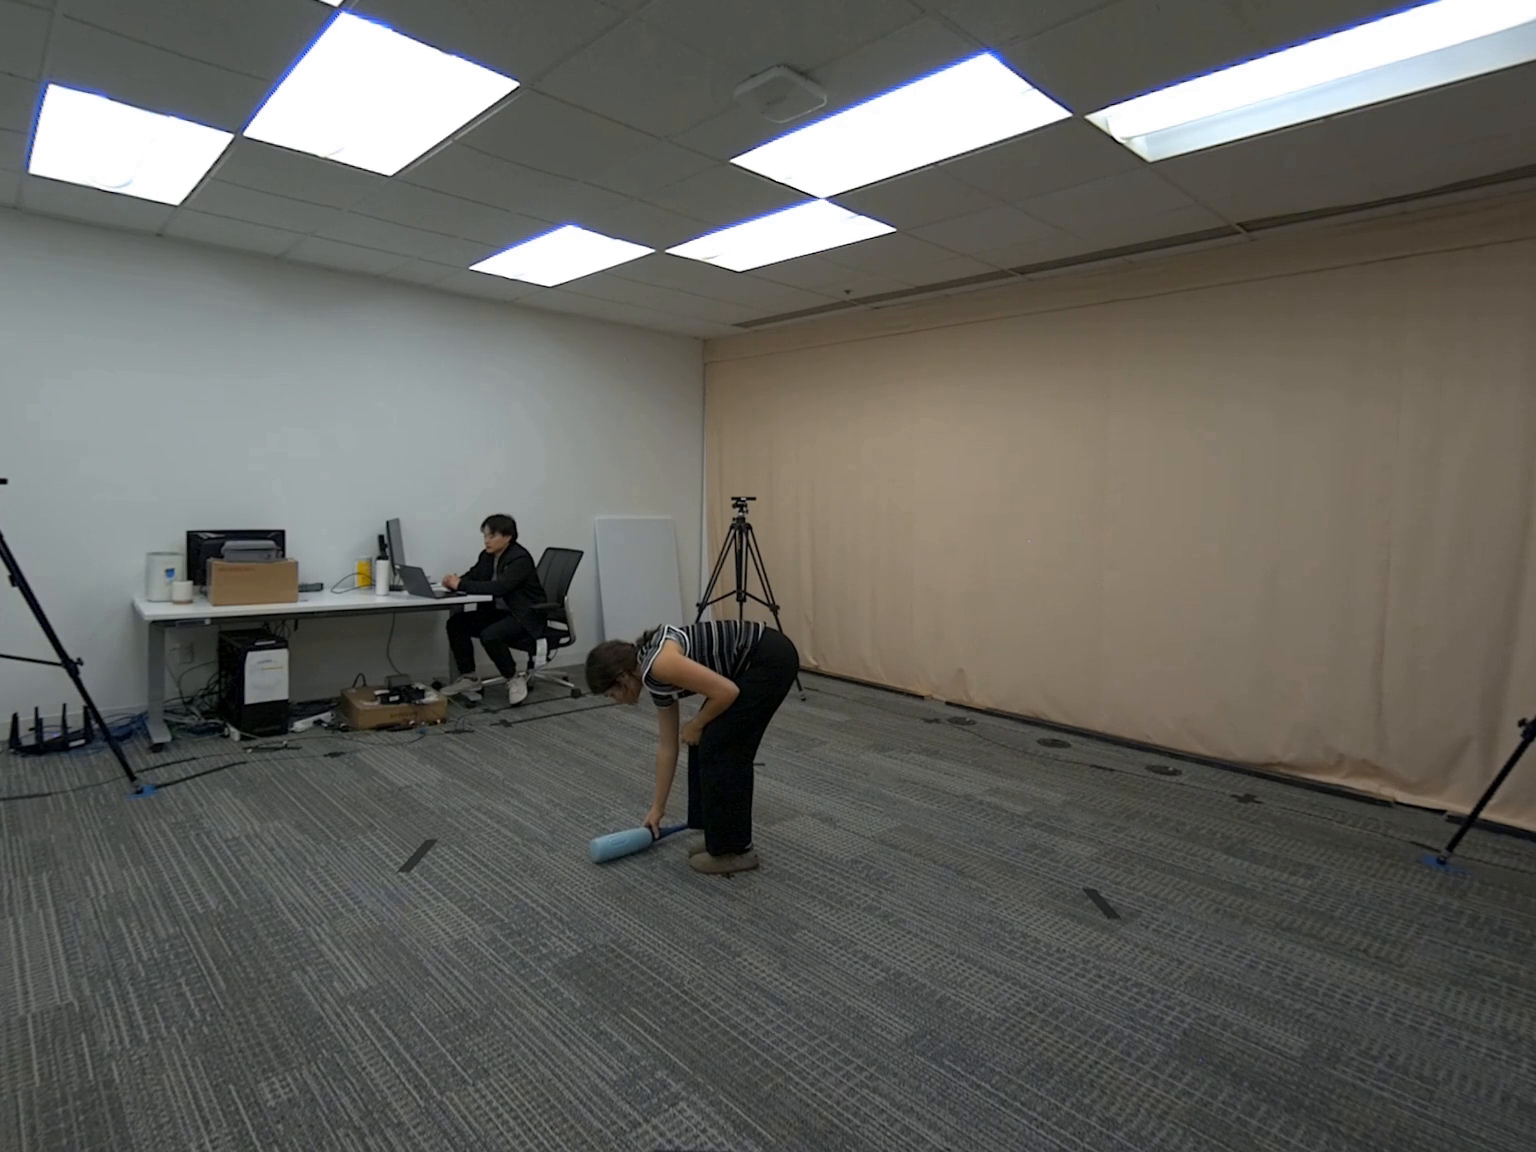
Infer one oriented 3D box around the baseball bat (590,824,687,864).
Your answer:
[{"bbox_3d":[-0.468,1.028,3.346,0.530,0.089,0.091,-2,5,-43],"label":"baseball bat"}]
